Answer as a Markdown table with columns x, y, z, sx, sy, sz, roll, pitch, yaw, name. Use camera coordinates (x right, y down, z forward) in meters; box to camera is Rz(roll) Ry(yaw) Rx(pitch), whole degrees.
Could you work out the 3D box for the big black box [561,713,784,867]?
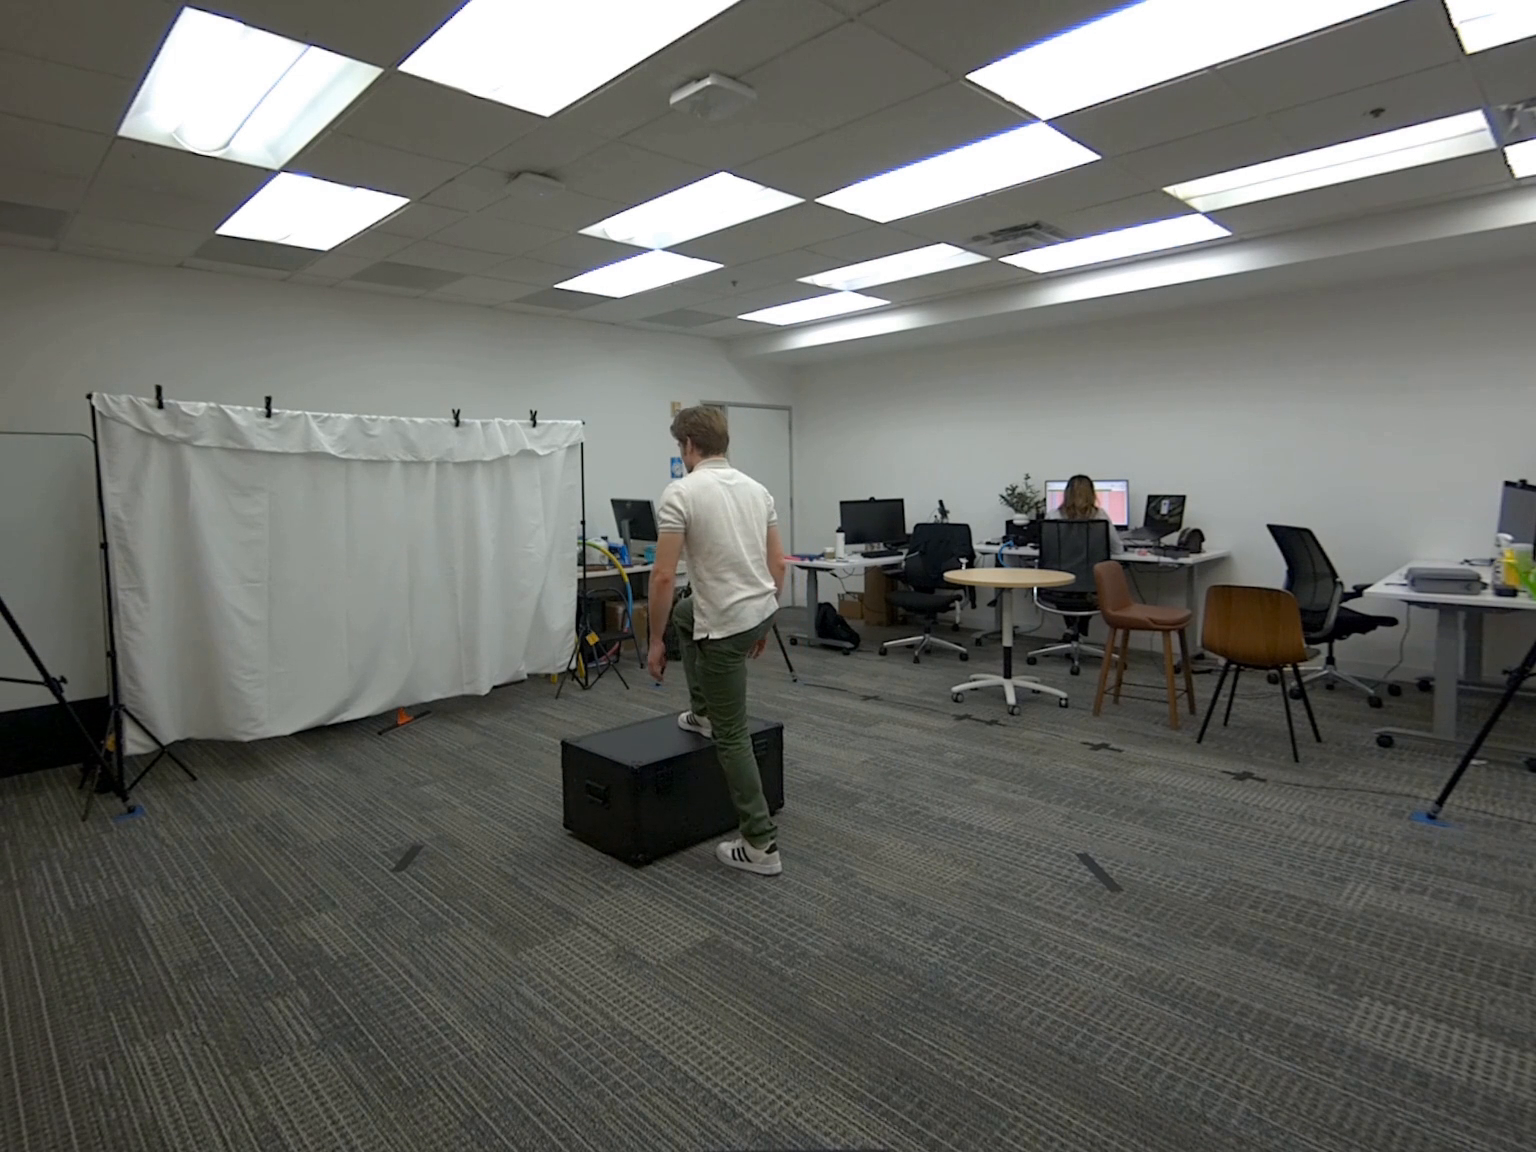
| x | y | z | sx | sy | sz | roll | pitch | yaw | name |
| --- | --- | --- | --- | --- | --- | --- | --- | --- | --- |
| -0.346 | 0.814 | 3.506 | 0.845 | 0.384 | 0.539 | -6 | 6 | -44 | big black box |
